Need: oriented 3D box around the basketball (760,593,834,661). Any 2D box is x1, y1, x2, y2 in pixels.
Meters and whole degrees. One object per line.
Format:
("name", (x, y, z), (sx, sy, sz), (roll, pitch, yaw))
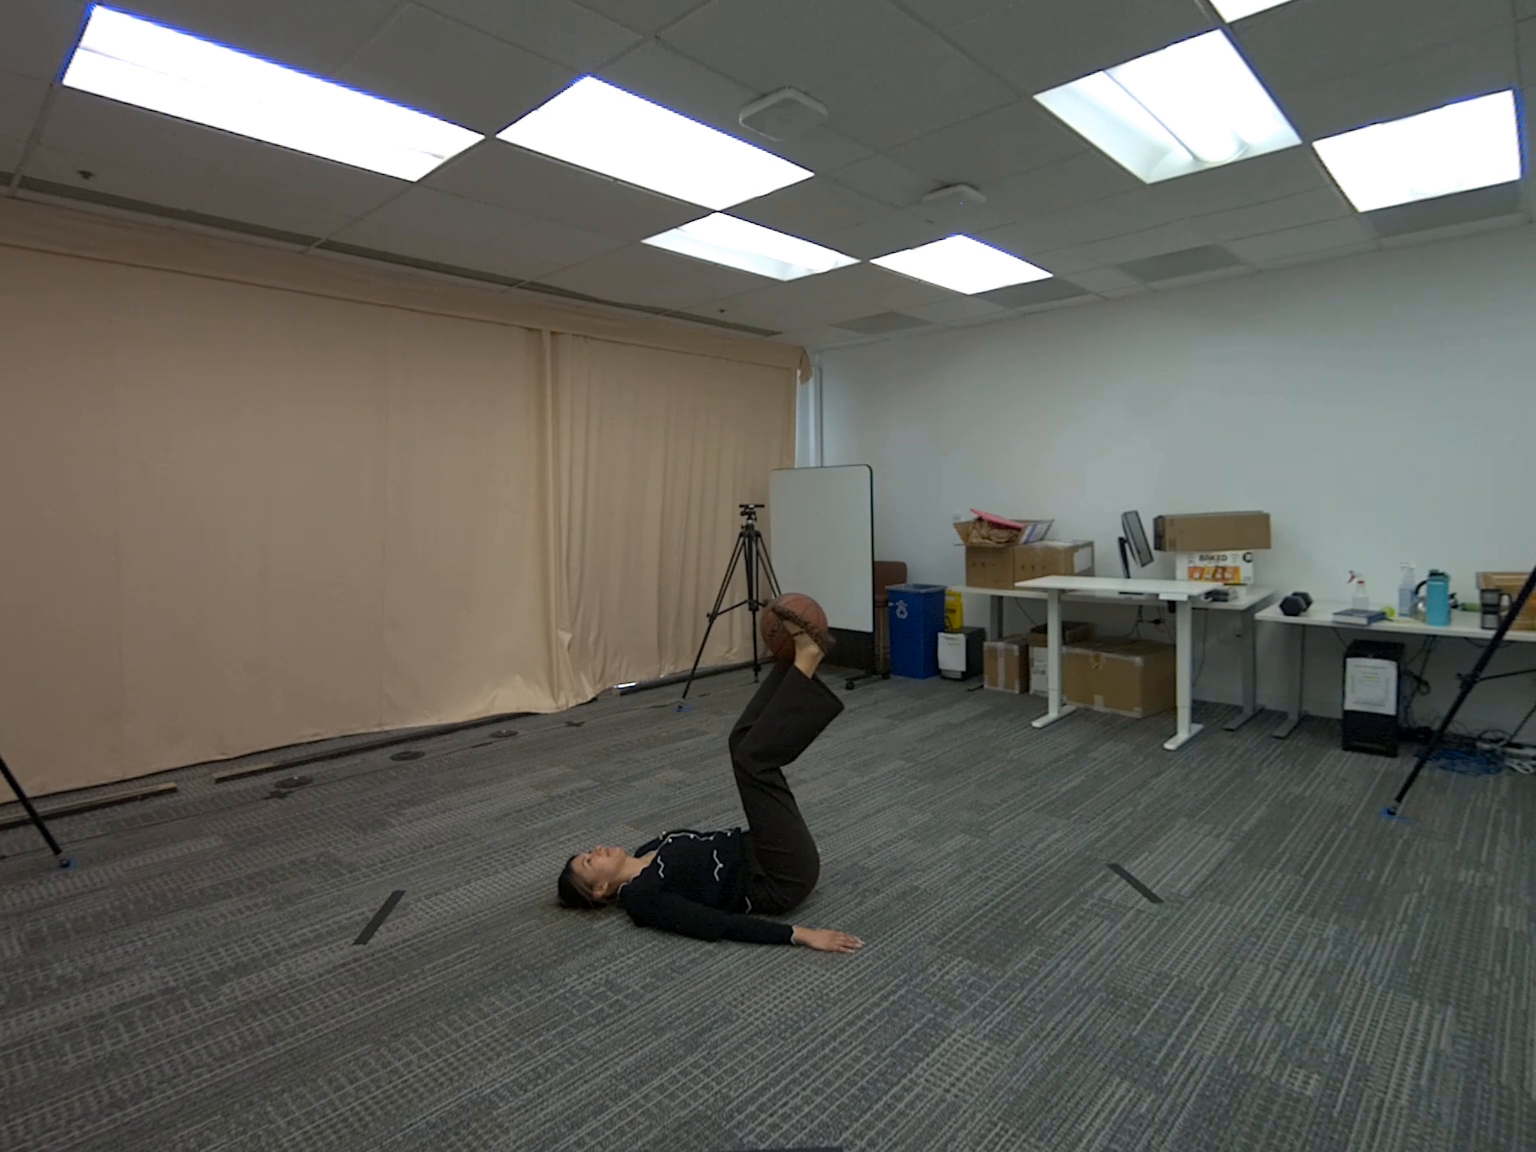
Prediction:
("basketball", (0.110, 0.180, 2.964), (0.236, 0.236, 0.236), (0, 1, -2))
